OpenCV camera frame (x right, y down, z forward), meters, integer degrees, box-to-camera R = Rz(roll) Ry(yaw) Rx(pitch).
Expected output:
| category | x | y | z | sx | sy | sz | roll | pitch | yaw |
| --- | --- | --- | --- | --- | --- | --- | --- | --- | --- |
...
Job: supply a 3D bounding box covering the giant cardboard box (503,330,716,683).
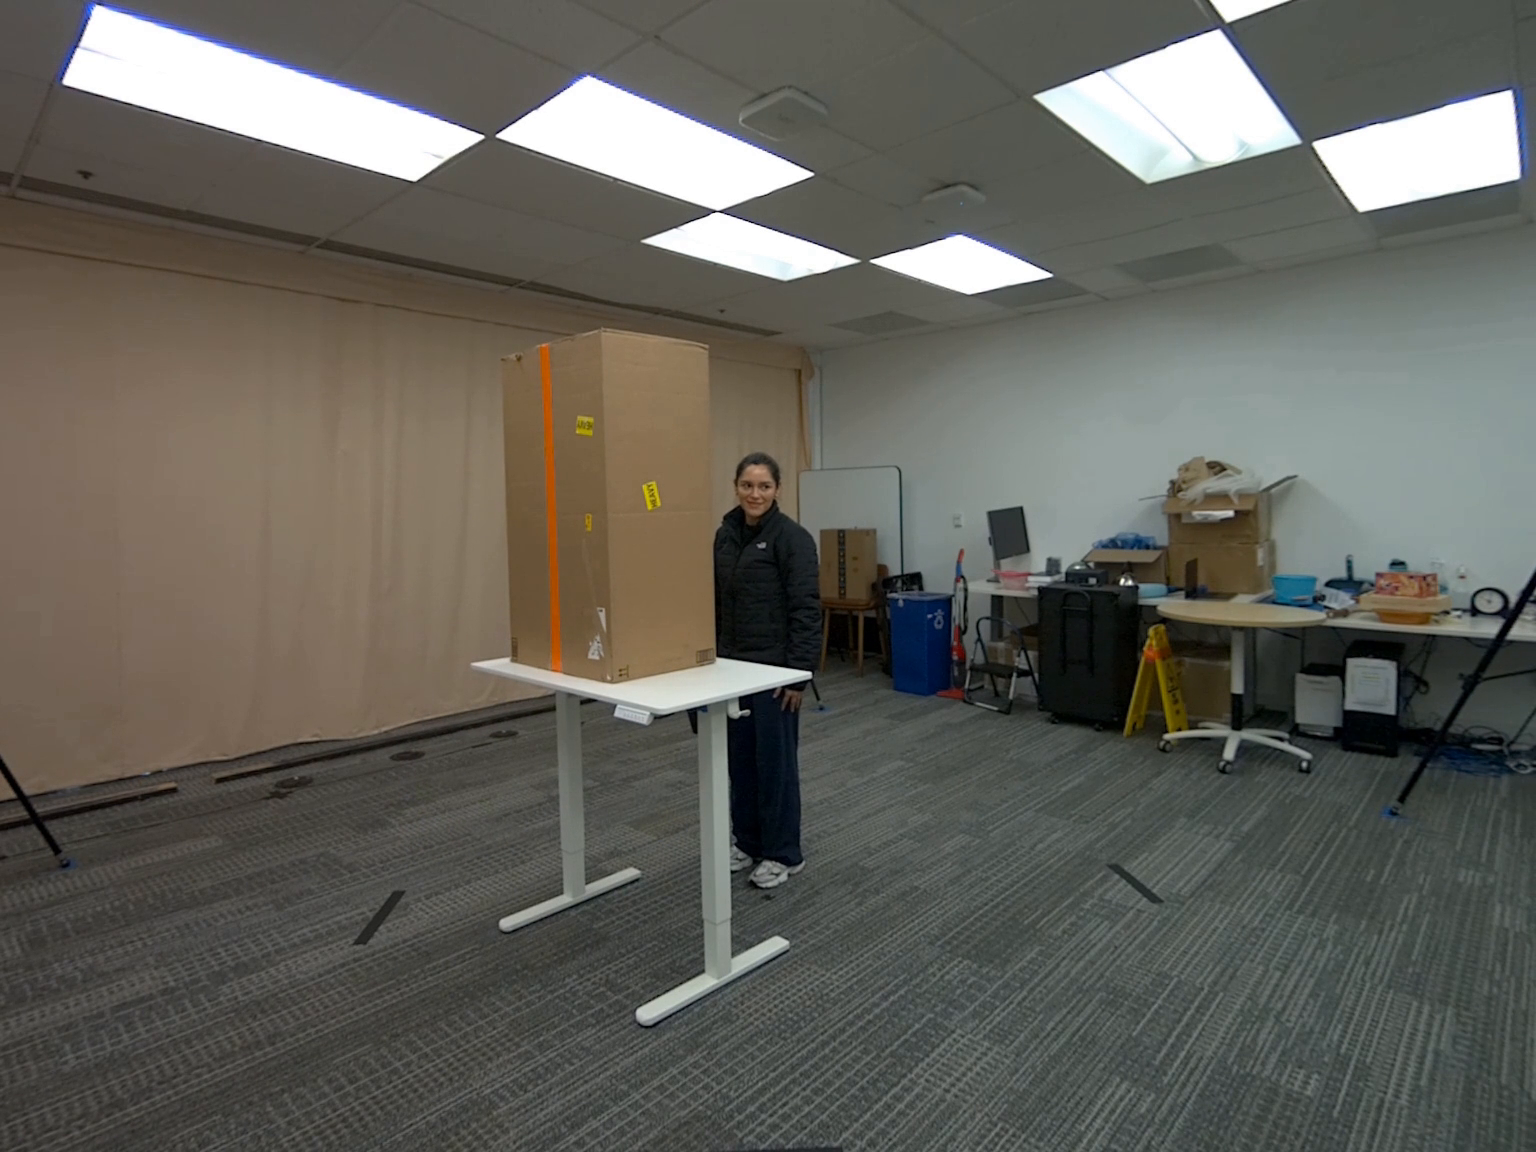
| category | x | y | z | sx | sy | sz | roll | pitch | yaw |
| --- | --- | --- | --- | --- | --- | --- | --- | --- | --- |
| giant cardboard box | -0.518 | -0.221 | 2.763 | 0.433 | 1.025 | 0.603 | -5 | 5 | -44 |
